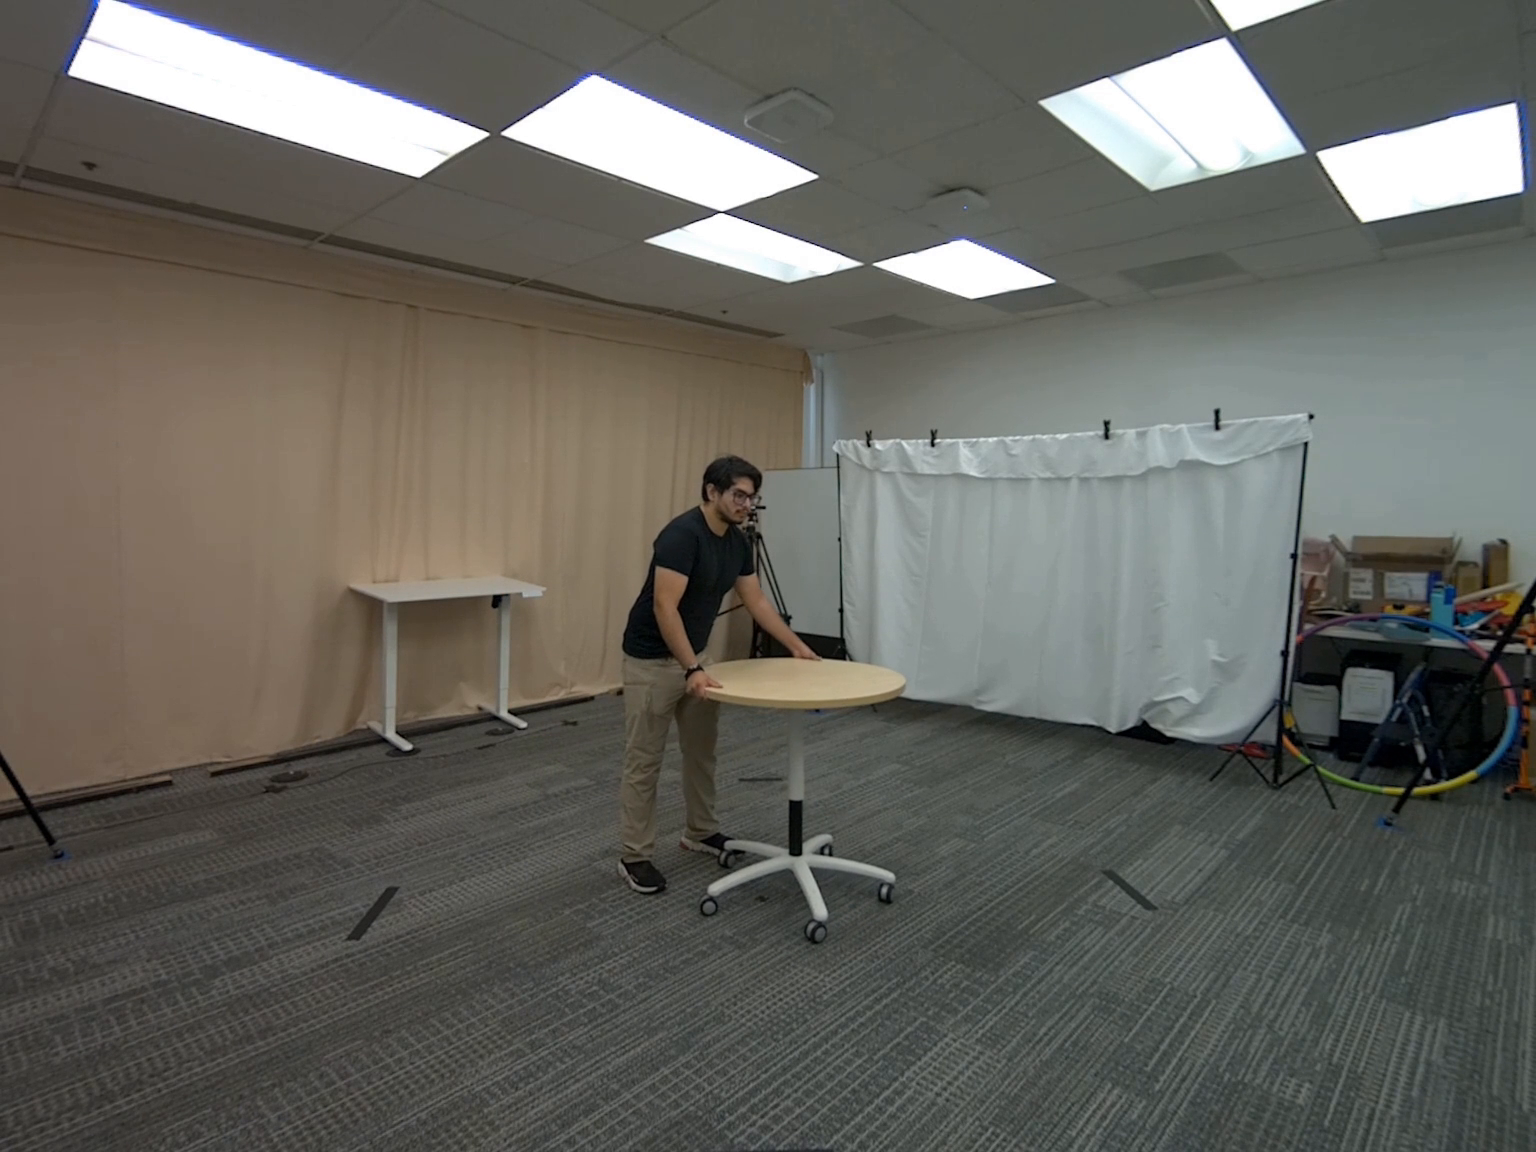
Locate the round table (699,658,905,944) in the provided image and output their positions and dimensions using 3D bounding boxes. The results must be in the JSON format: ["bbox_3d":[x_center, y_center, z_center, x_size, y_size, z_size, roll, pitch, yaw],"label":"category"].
[{"bbox_3d":[0.113,0.744,3.017,0.784,0.785,0.788,0,4,-2],"label":"round table"}]
